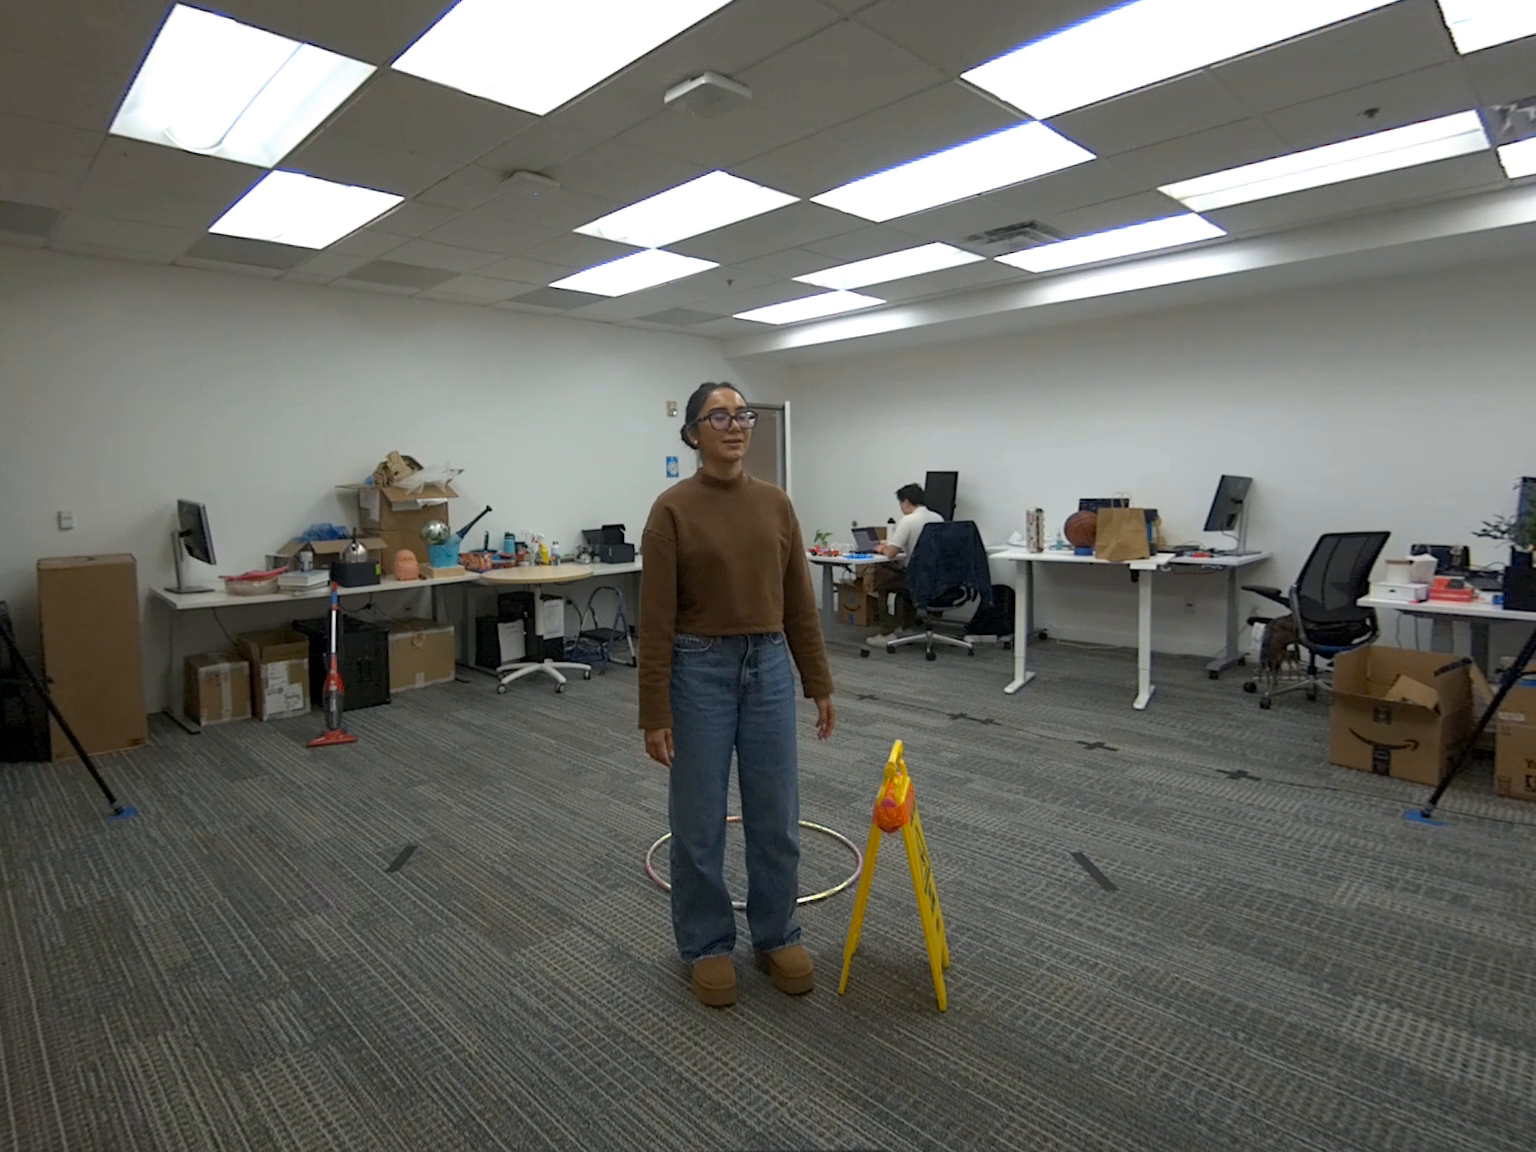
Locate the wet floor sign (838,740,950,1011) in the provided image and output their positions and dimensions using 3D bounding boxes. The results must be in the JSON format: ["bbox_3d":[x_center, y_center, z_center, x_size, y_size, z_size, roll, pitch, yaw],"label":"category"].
[{"bbox_3d":[0.358,0.795,2.372,0.294,0.643,0.279,0,5,16],"label":"wet floor sign"}]
